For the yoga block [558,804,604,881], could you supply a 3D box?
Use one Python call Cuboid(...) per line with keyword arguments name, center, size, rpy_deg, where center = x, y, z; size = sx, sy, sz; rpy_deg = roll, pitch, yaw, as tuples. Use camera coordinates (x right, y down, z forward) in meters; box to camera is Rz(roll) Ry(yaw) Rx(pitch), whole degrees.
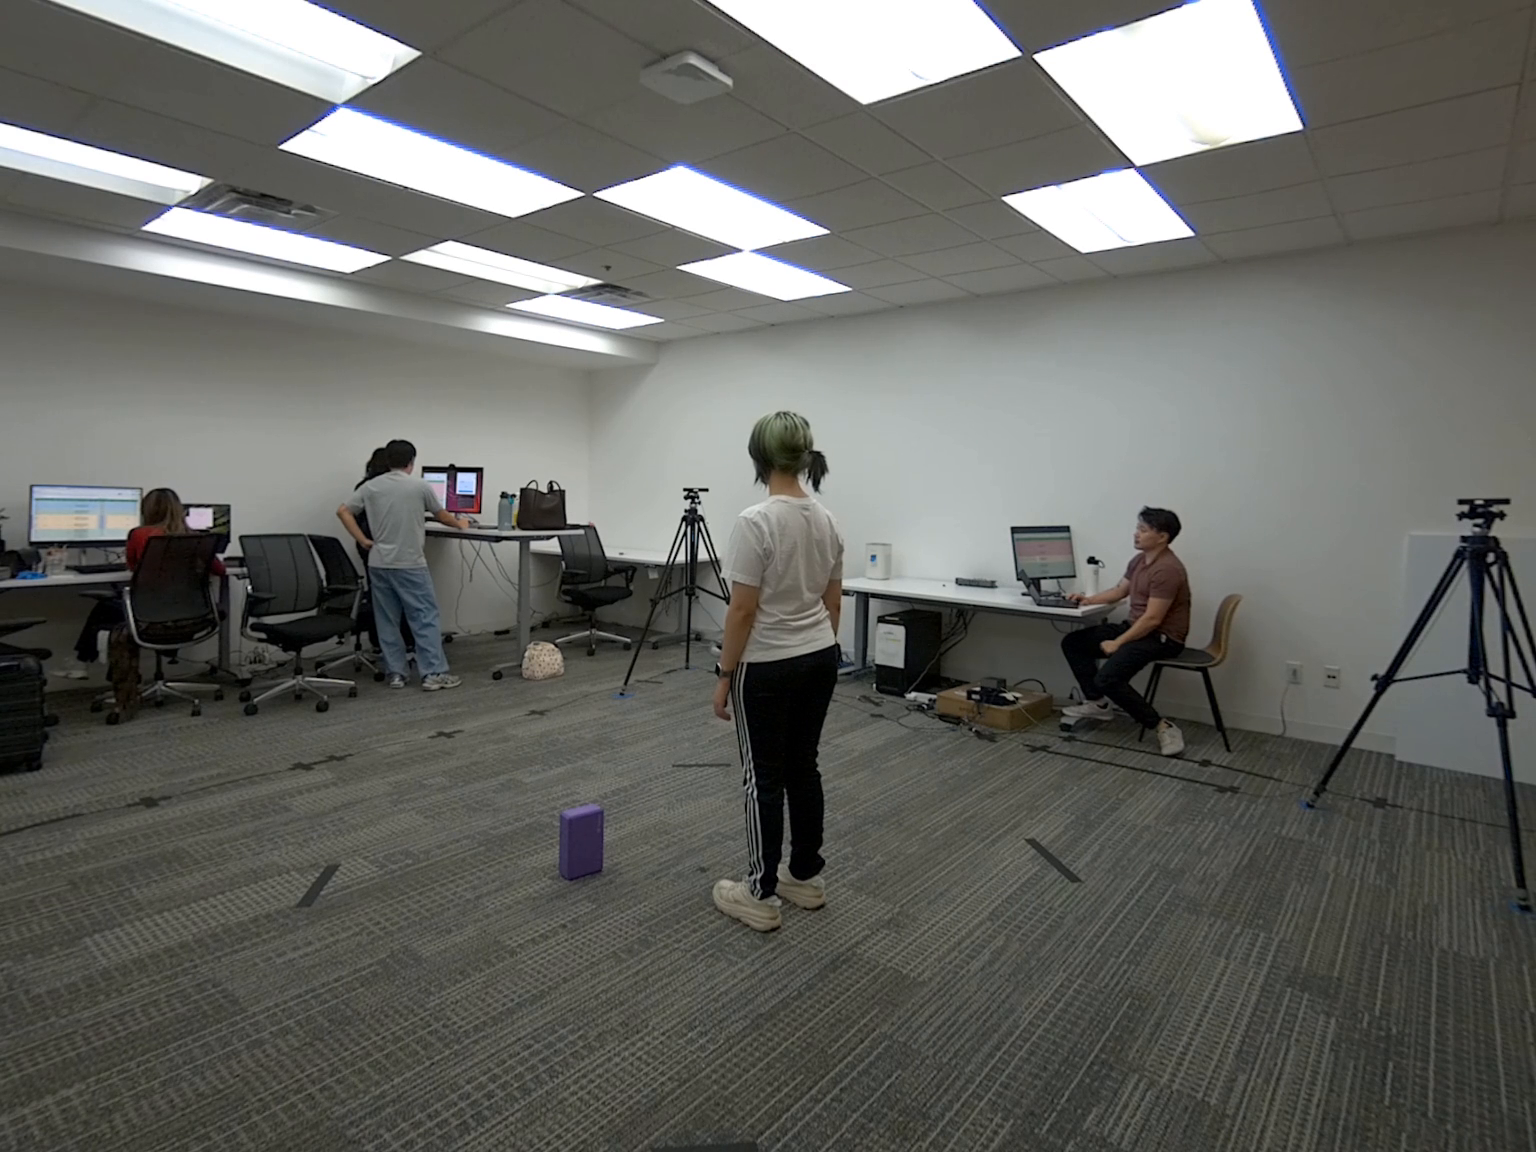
Cuboid(name="yoga block", center=(-0.680, 0.949, 3.053), size=(0.144, 0.228, 0.079), rpy_deg=(-3, 5, -43))
